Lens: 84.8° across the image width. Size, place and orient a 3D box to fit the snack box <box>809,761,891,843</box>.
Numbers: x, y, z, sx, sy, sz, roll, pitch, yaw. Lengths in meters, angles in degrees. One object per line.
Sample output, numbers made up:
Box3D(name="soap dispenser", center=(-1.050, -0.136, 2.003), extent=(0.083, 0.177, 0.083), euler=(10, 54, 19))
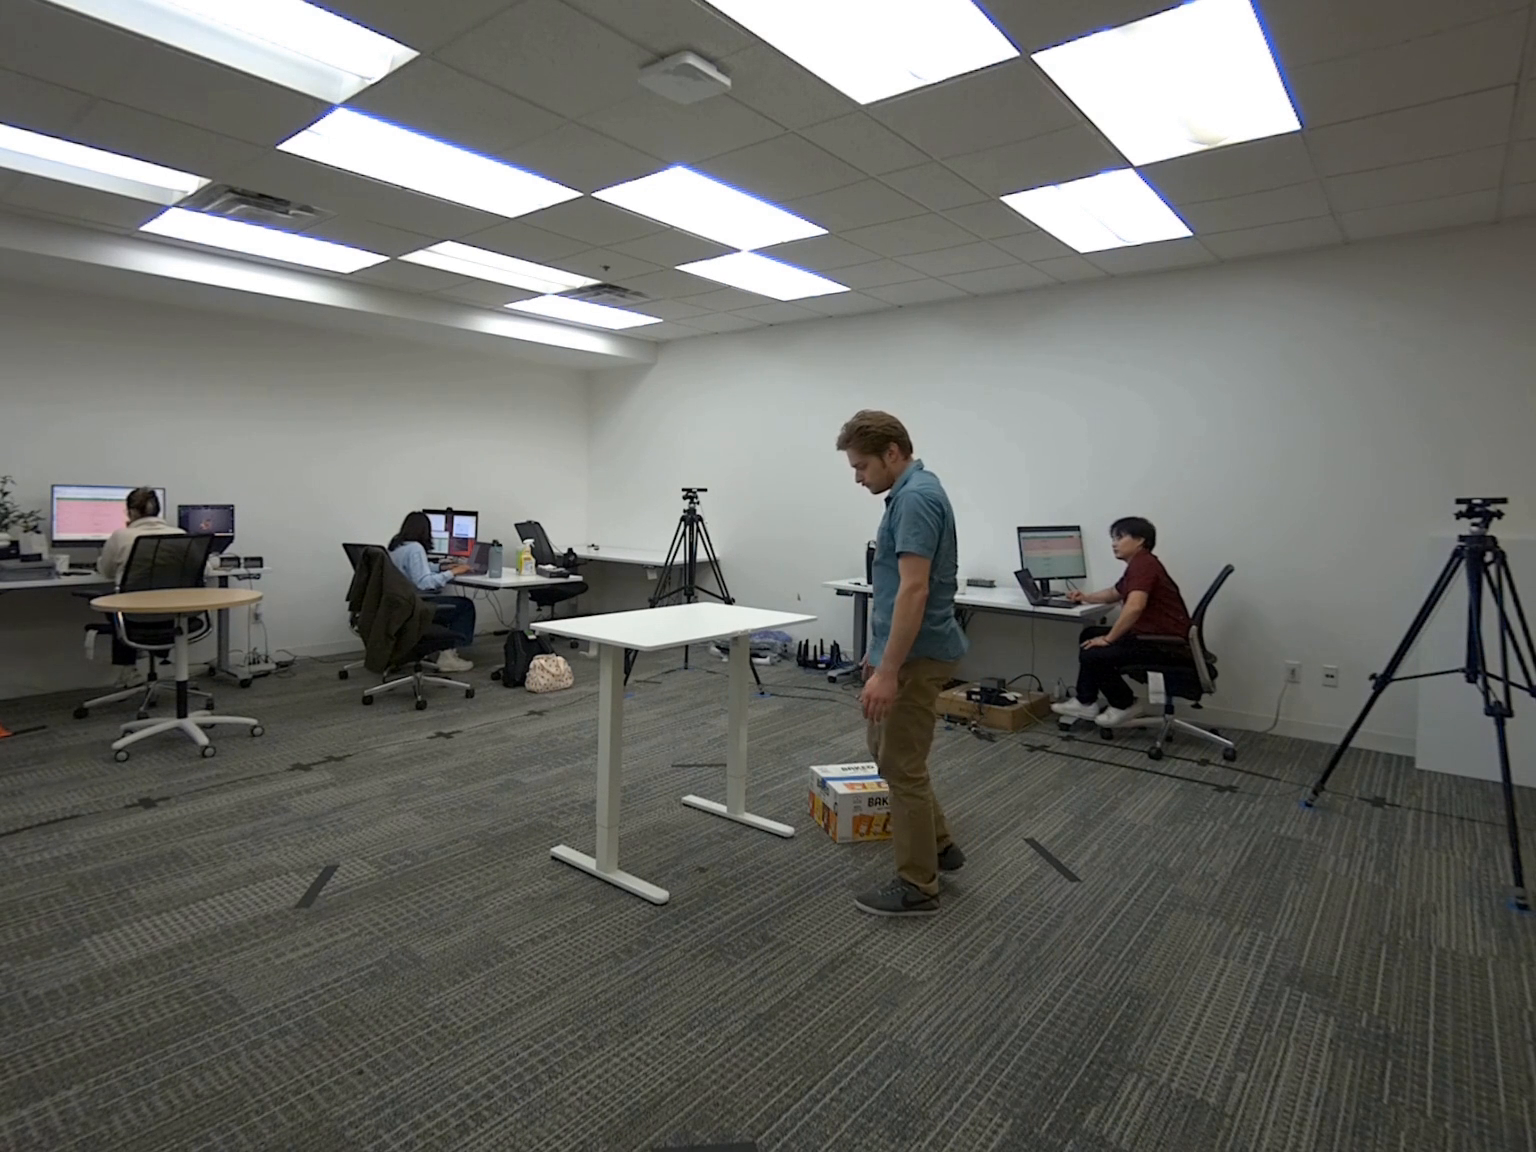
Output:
Box3D(name="snack box", center=(0.408, 0.936, 3.566), extent=(0.399, 0.205, 0.347), euler=(0, 5, -16))
